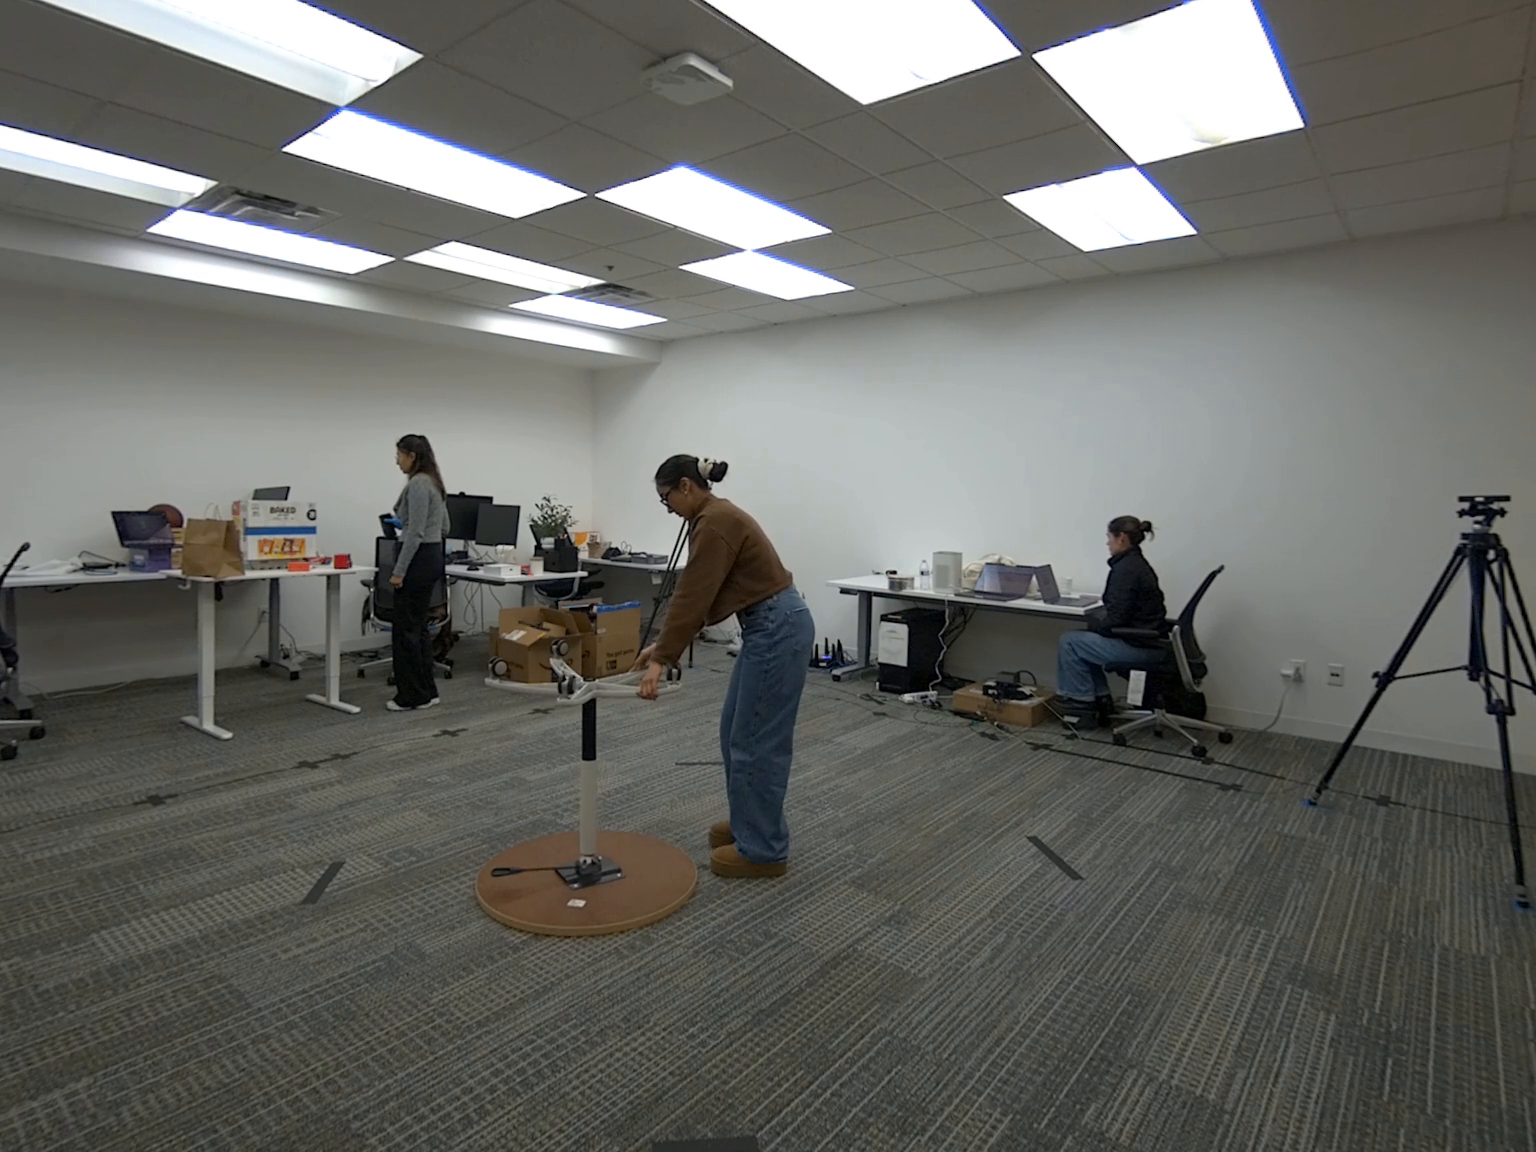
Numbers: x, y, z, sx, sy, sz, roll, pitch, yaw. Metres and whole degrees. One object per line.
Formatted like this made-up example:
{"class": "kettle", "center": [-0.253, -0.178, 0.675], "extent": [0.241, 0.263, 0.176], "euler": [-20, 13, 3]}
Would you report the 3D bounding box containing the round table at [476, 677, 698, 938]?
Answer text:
{"class": "round table", "center": [-0.646, 0.681, 2.980], "extent": [0.763, 0.792, 0.767], "euler": [0, 3, -2]}
